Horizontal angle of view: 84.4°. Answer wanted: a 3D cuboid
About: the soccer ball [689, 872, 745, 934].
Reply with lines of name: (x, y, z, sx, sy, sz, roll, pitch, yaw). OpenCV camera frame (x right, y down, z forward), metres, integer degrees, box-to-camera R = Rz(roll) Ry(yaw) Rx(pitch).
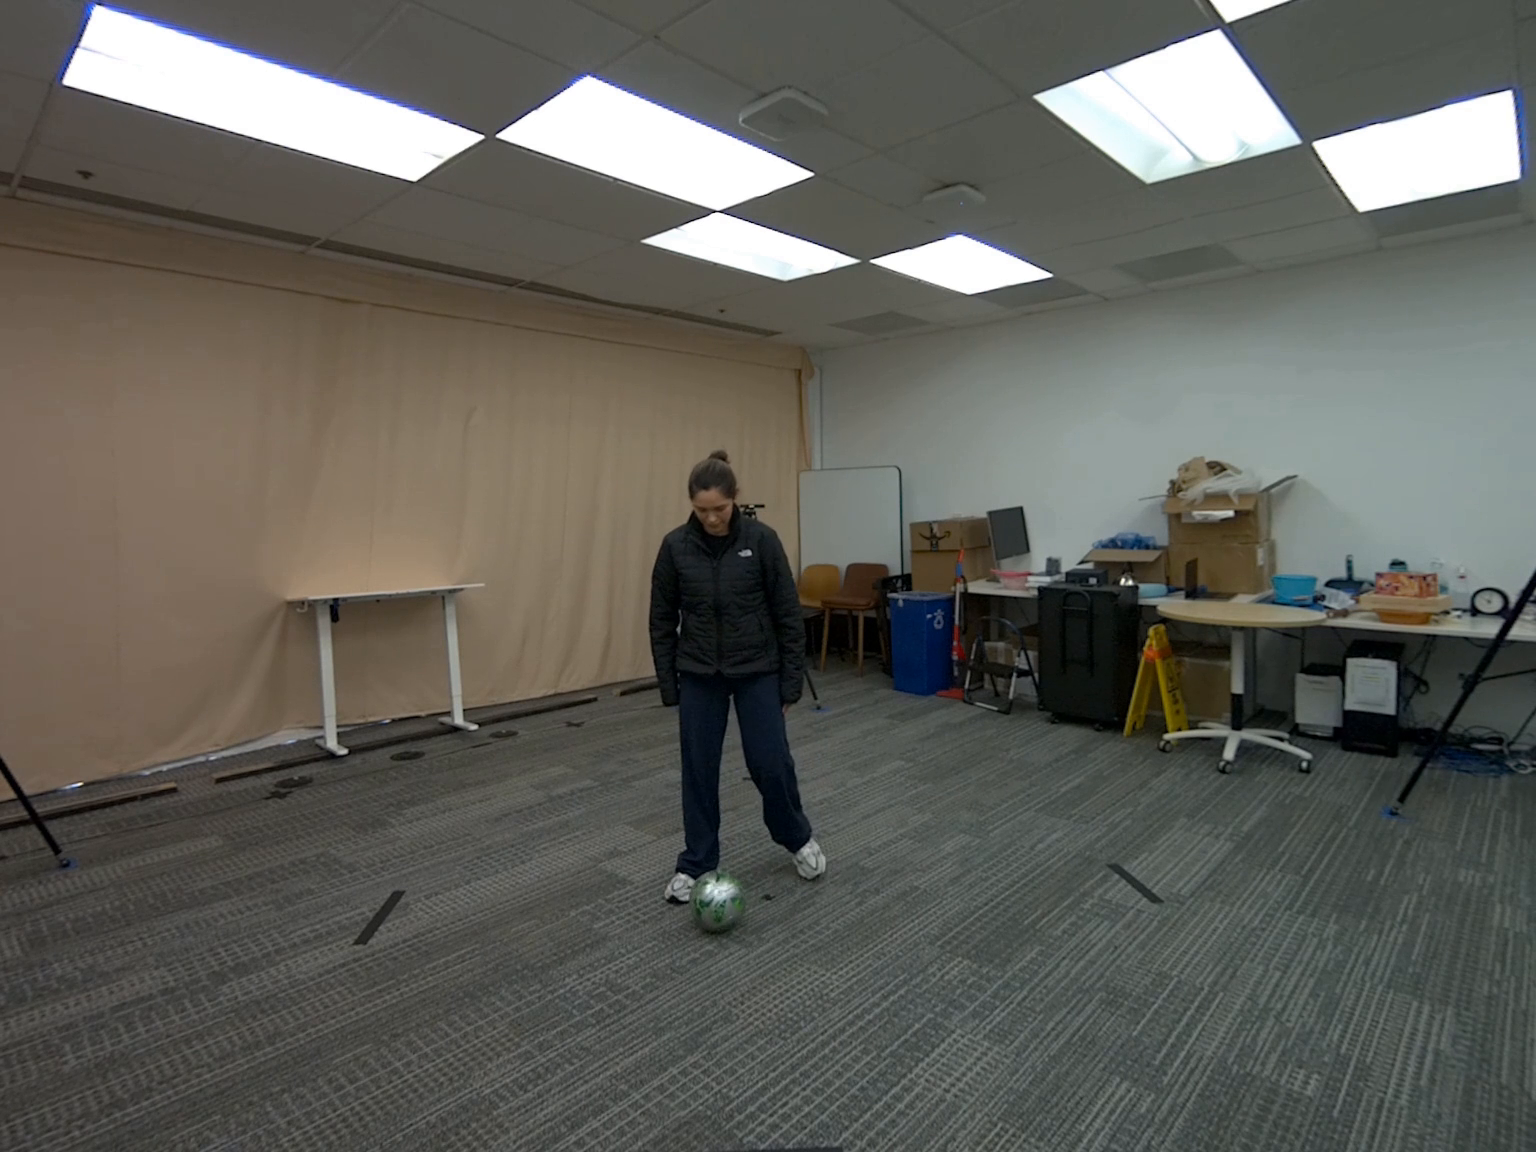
soccer ball: (-0.165, 1.065, 2.762, 0.187, 0.187, 0.188, -1, 4, -2)
